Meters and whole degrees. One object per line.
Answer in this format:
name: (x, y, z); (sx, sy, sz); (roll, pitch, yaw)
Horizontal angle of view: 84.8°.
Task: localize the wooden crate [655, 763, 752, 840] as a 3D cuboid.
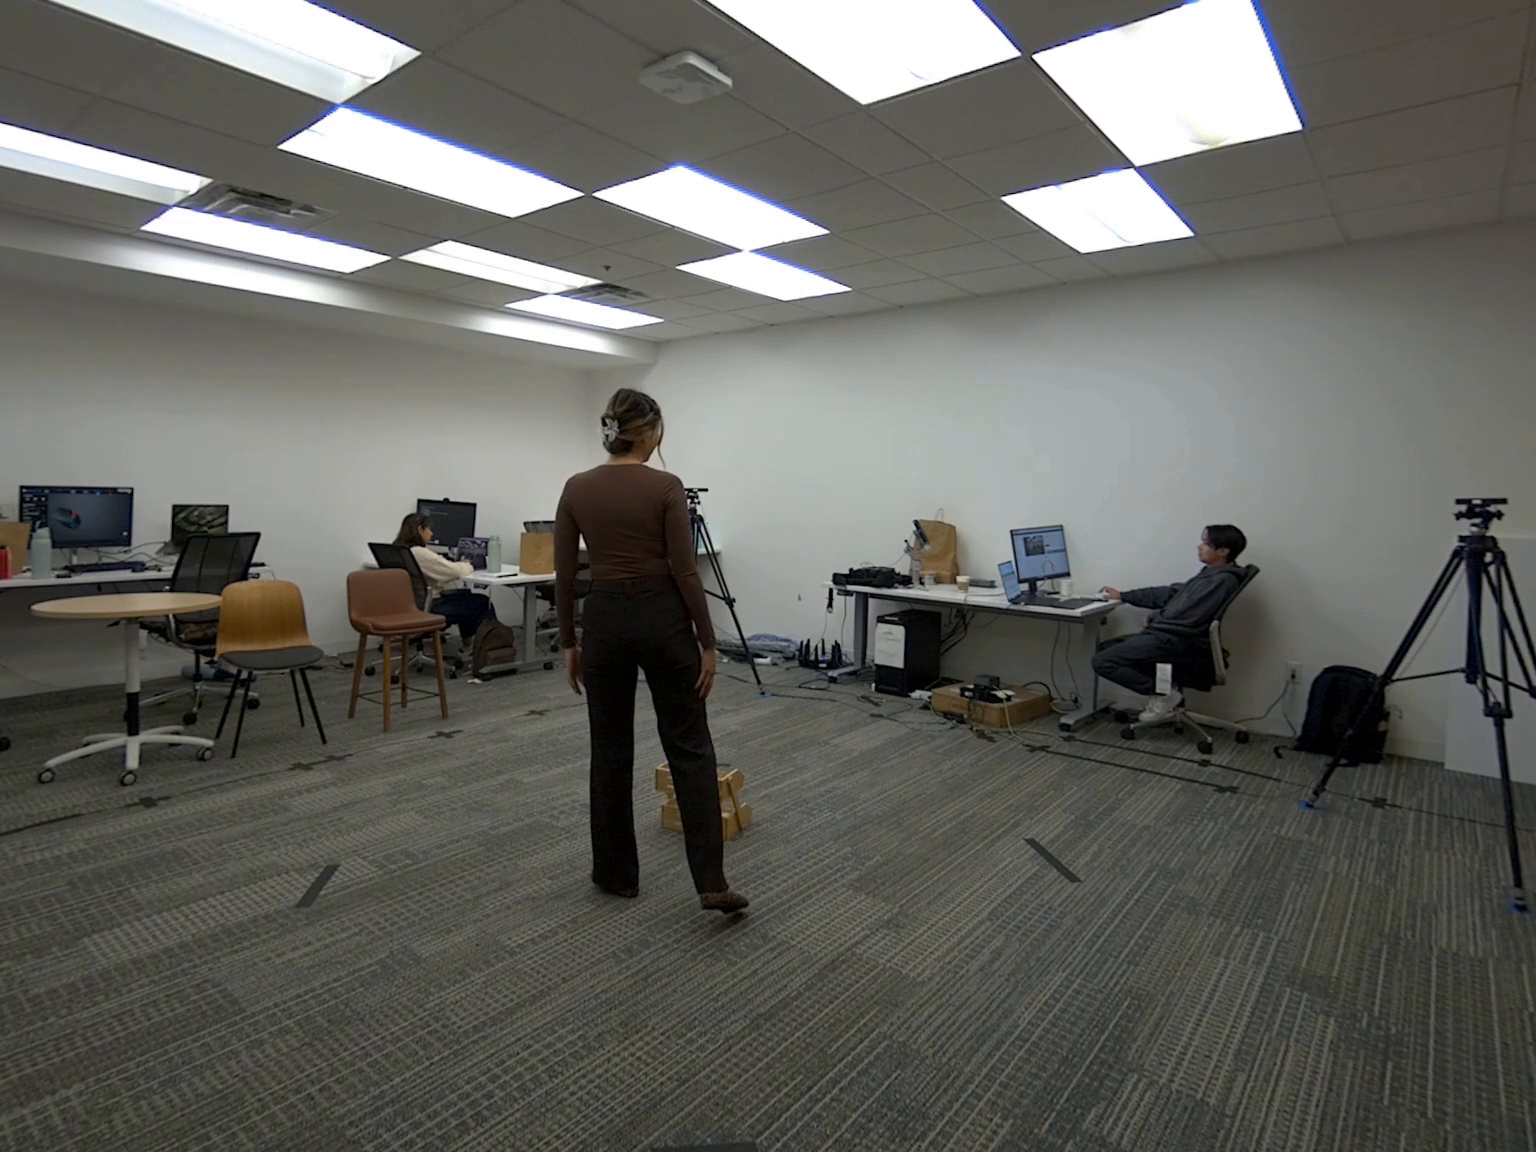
wooden crate: (-0.270, 0.892, 3.512); (0.333, 0.272, 0.295); (3, 5, 25)
